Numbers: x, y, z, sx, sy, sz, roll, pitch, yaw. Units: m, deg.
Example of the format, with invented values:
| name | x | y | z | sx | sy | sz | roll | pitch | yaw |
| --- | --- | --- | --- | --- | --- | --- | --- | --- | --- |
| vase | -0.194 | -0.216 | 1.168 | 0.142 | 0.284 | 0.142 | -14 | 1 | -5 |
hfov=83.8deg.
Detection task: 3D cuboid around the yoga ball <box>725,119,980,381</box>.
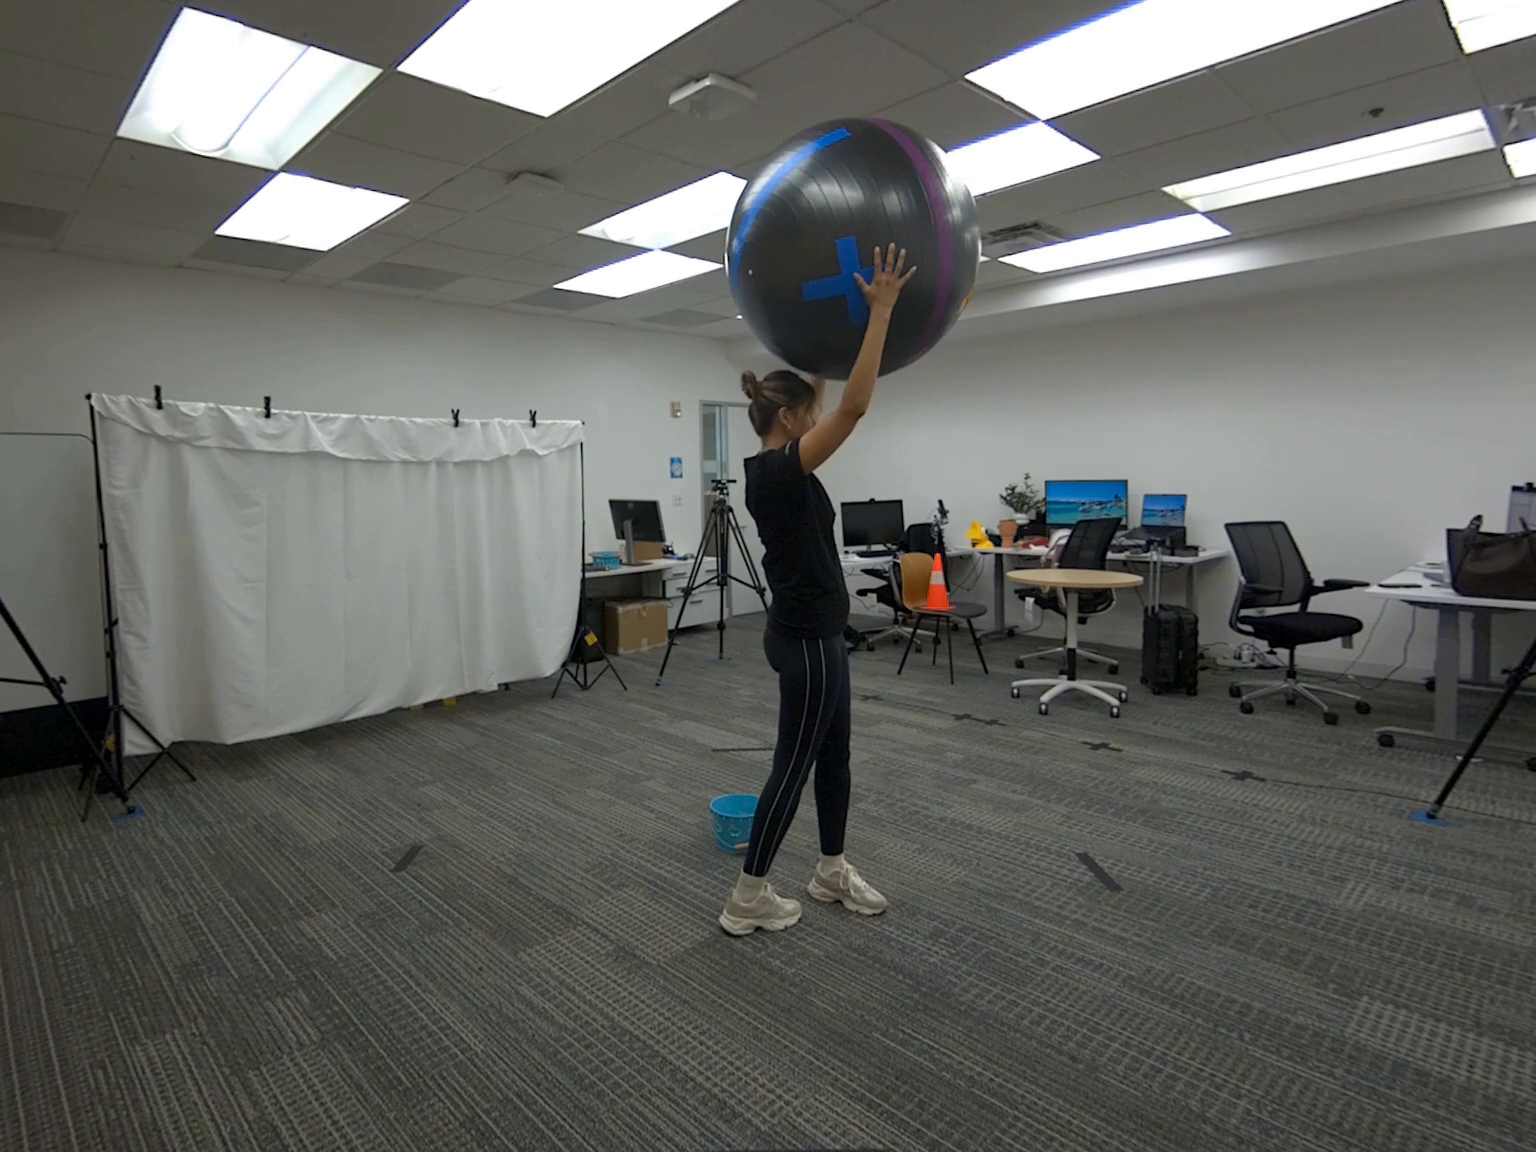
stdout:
| name | x | y | z | sx | sy | sz | roll | pitch | yaw |
| --- | --- | --- | --- | --- | --- | --- | --- | --- | --- |
| yoga ball | 0.254 | -0.965 | 2.589 | 0.757 | 0.755 | 0.762 | -1 | 5 | -2 |
